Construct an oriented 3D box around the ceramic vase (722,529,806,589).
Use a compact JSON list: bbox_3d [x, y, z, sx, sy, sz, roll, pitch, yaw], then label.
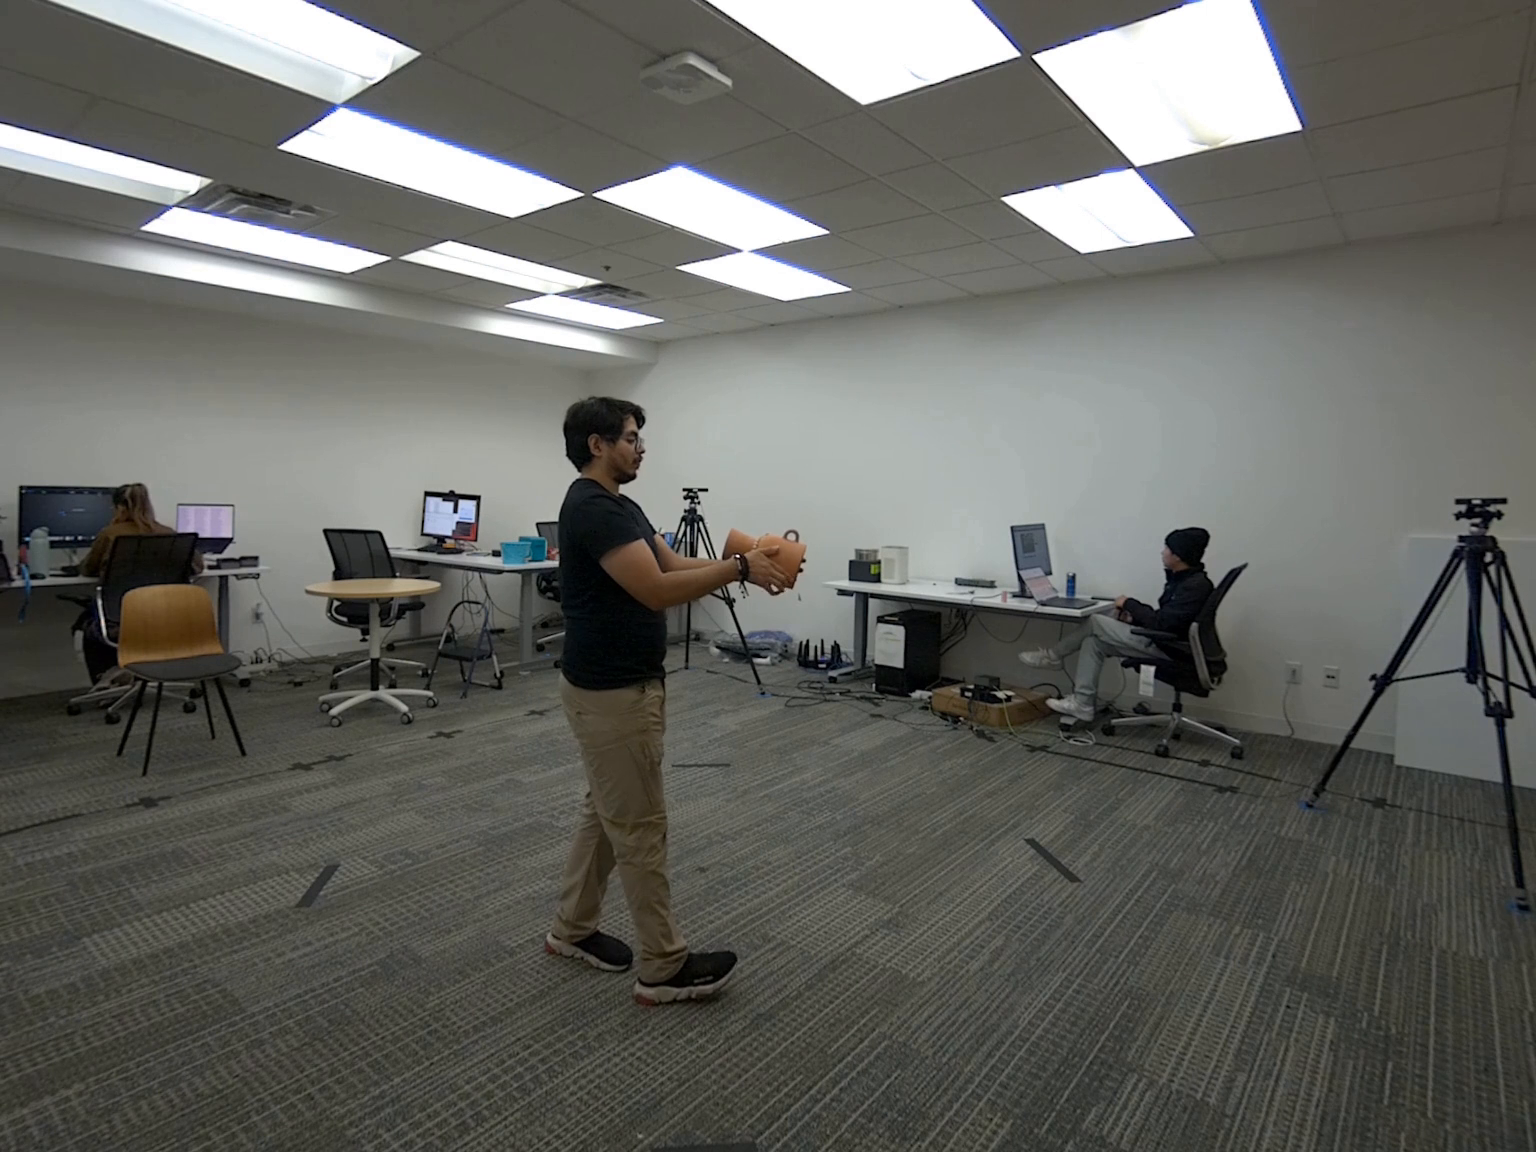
[{"bbox_3d":[-0.019,-0.058,2.426,0.222,0.161,0.131,17,-31,6],"label":"ceramic vase"}]
